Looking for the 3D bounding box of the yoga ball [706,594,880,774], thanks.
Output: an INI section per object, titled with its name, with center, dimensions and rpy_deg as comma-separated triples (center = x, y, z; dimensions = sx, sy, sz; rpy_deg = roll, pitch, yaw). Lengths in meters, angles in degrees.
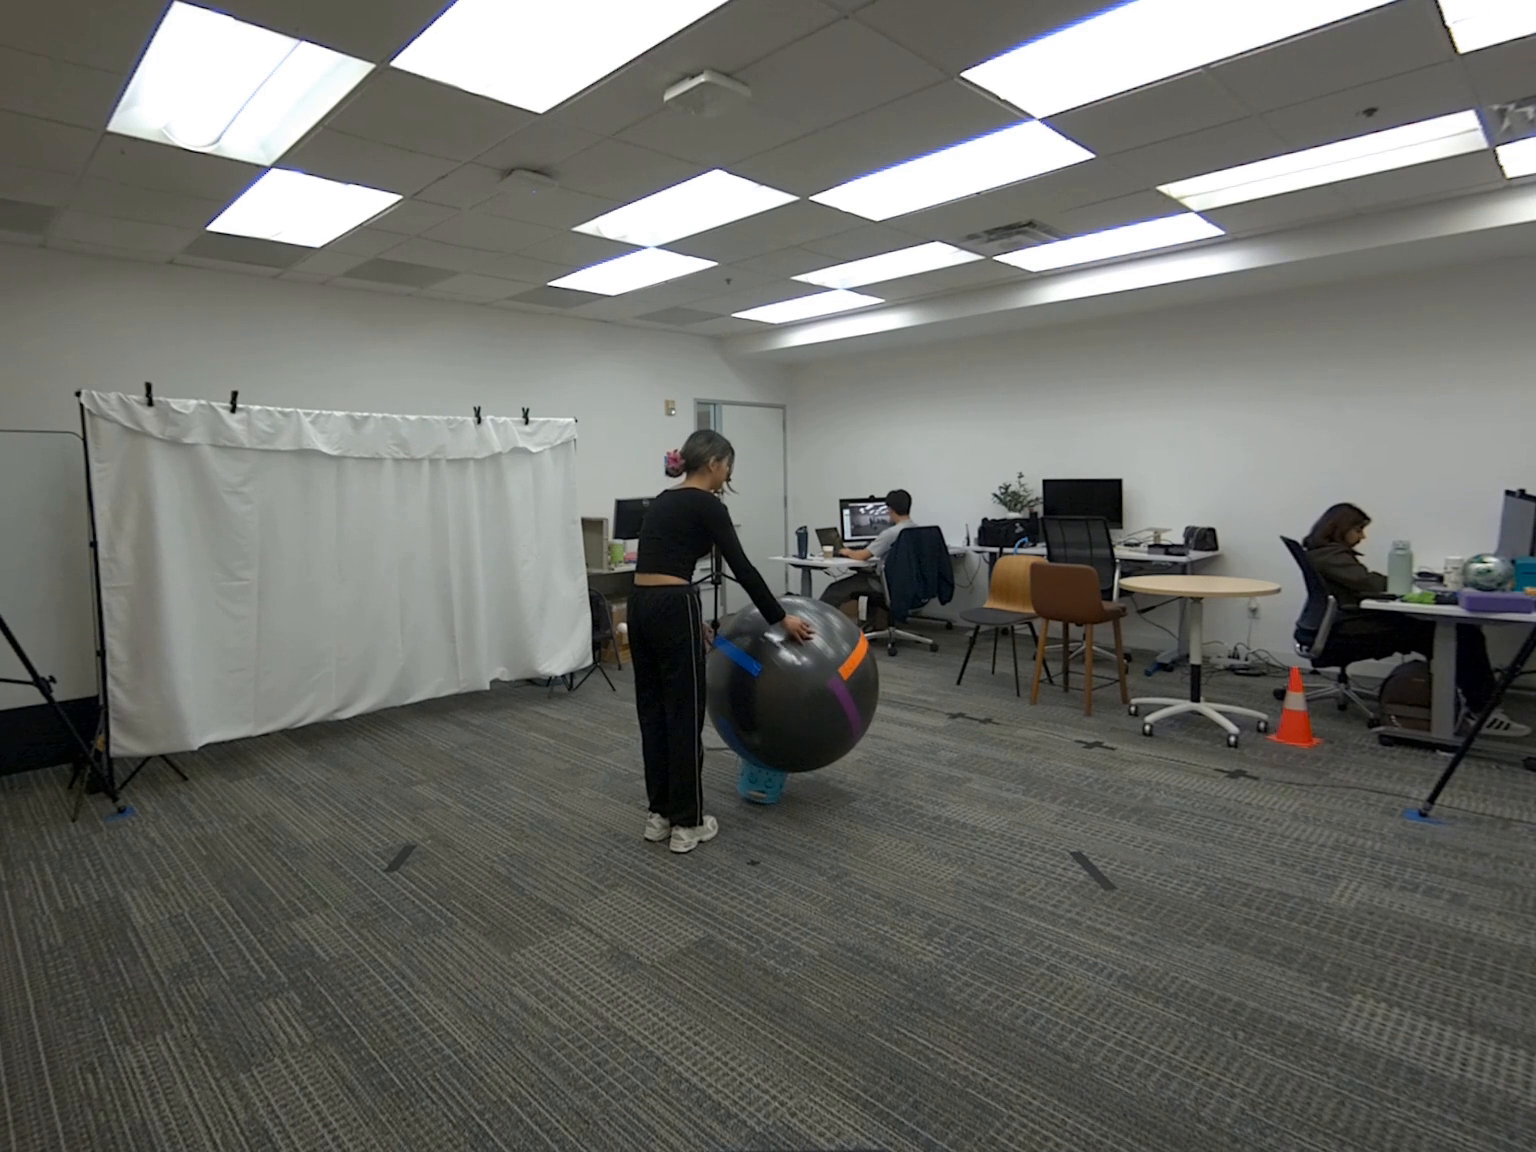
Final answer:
[yoga ball]
center = 0.101, 0.466, 3.691
dimensions = 0.757, 0.755, 0.762
rpy_deg = -1, 5, -2
